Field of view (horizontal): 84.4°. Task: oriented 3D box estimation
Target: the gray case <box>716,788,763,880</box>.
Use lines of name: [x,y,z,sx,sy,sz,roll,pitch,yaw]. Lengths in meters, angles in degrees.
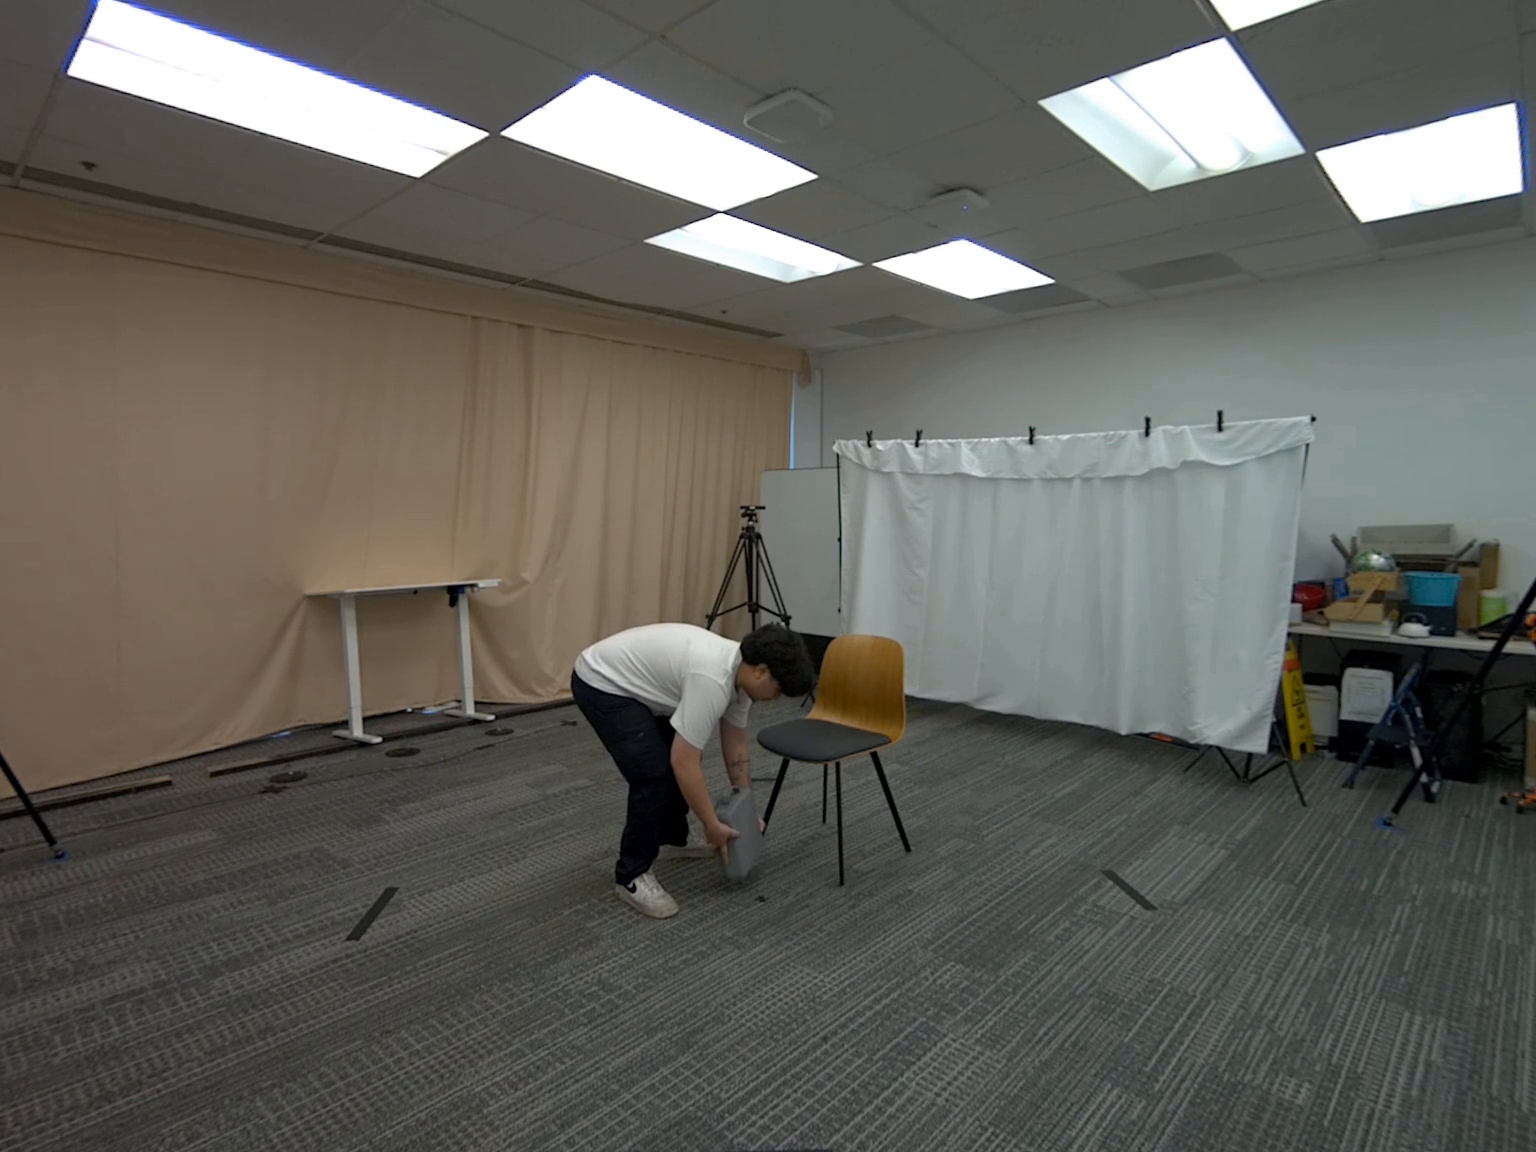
gray case: [-0.116,0.928,3.054,0.106,0.260,0.253,-6,2,16]
